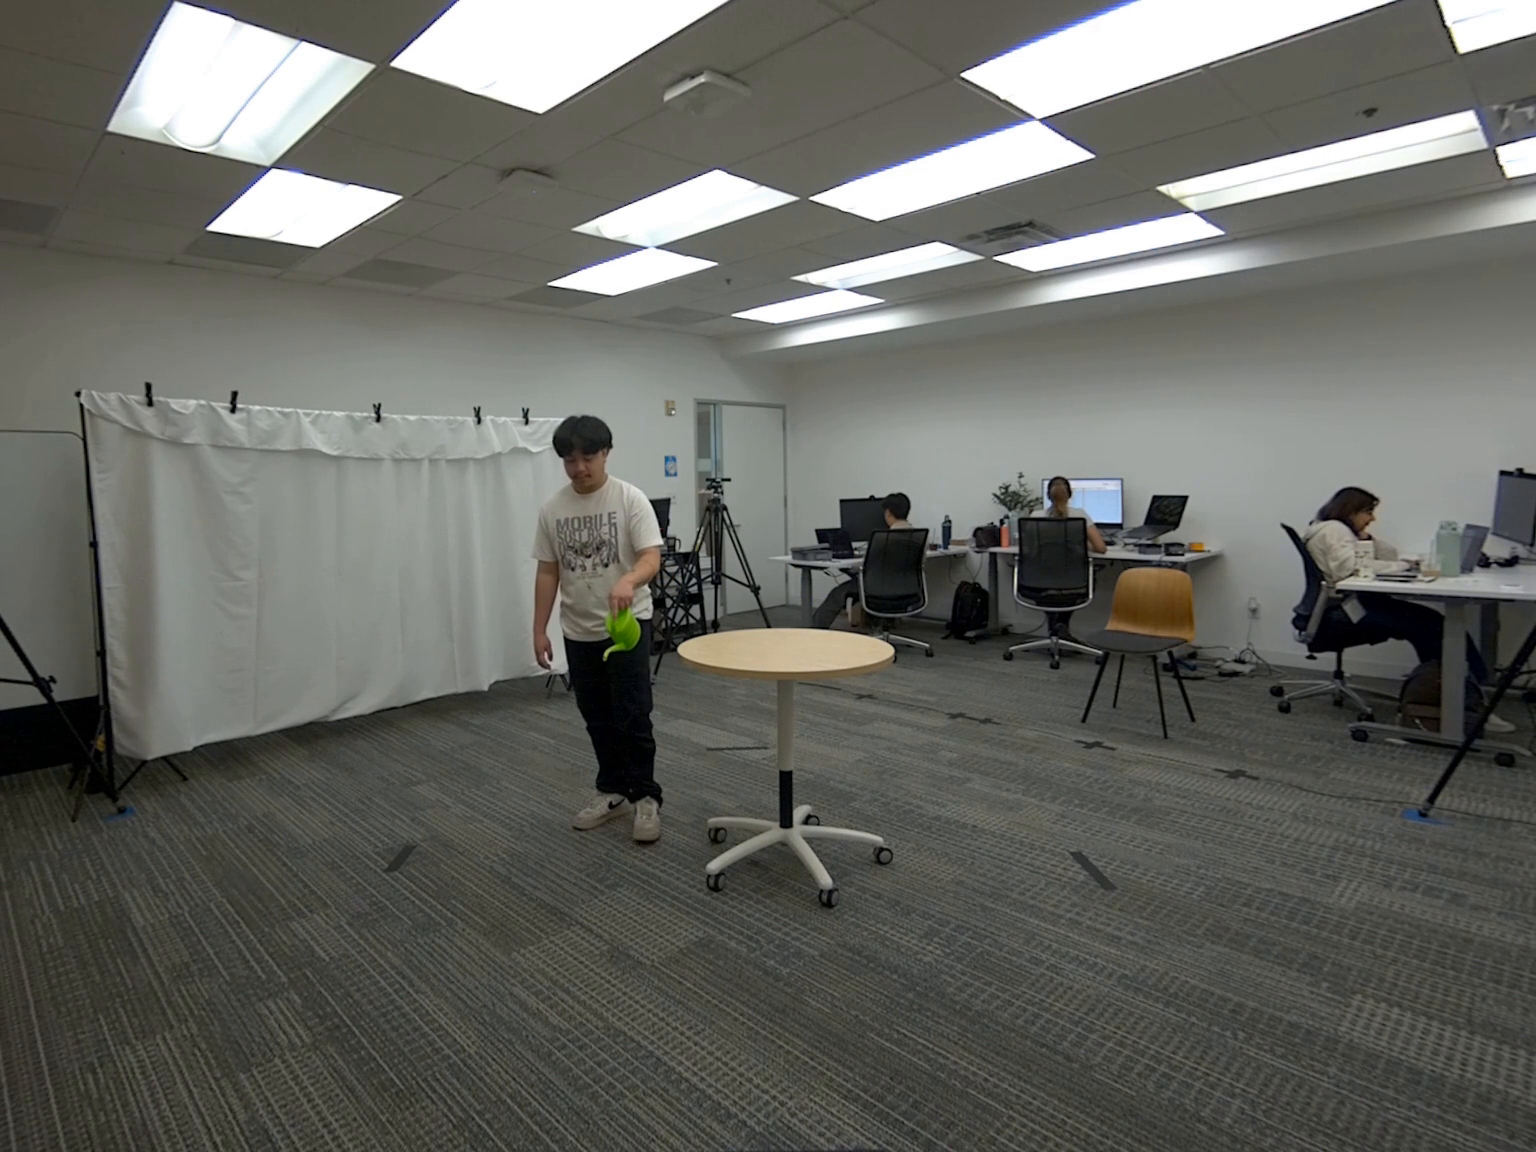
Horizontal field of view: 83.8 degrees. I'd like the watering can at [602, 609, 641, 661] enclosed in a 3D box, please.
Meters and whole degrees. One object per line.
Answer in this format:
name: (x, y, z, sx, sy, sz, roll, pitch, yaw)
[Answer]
watering can: (-0.550, 0.215, 3.097, 0.100, 0.282, 0.171, 7, -34, 17)
